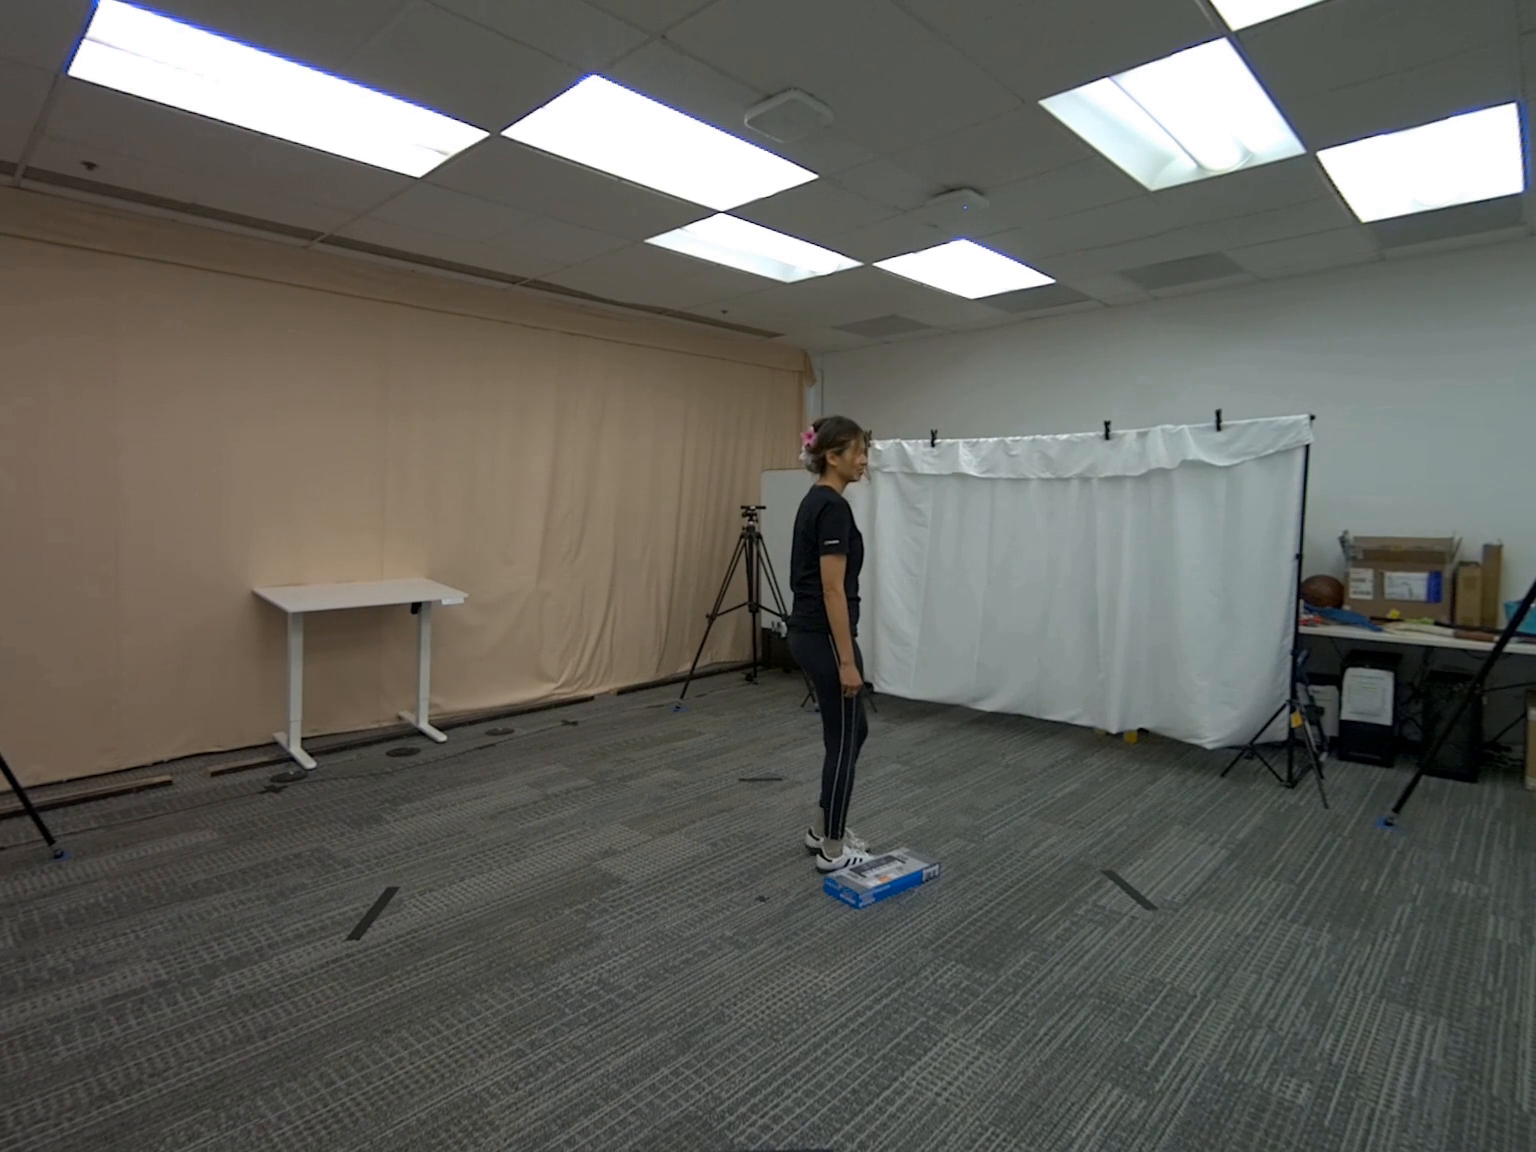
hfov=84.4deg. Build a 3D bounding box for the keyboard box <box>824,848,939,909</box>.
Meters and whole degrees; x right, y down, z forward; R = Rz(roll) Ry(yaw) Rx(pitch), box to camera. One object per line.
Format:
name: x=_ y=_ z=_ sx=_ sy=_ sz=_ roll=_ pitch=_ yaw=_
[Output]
keyboard box: x=0.429 y=1.100 z=3.095 sx=0.424 sy=0.059 sz=0.182 roll=-4 pitch=7 yaw=-37
